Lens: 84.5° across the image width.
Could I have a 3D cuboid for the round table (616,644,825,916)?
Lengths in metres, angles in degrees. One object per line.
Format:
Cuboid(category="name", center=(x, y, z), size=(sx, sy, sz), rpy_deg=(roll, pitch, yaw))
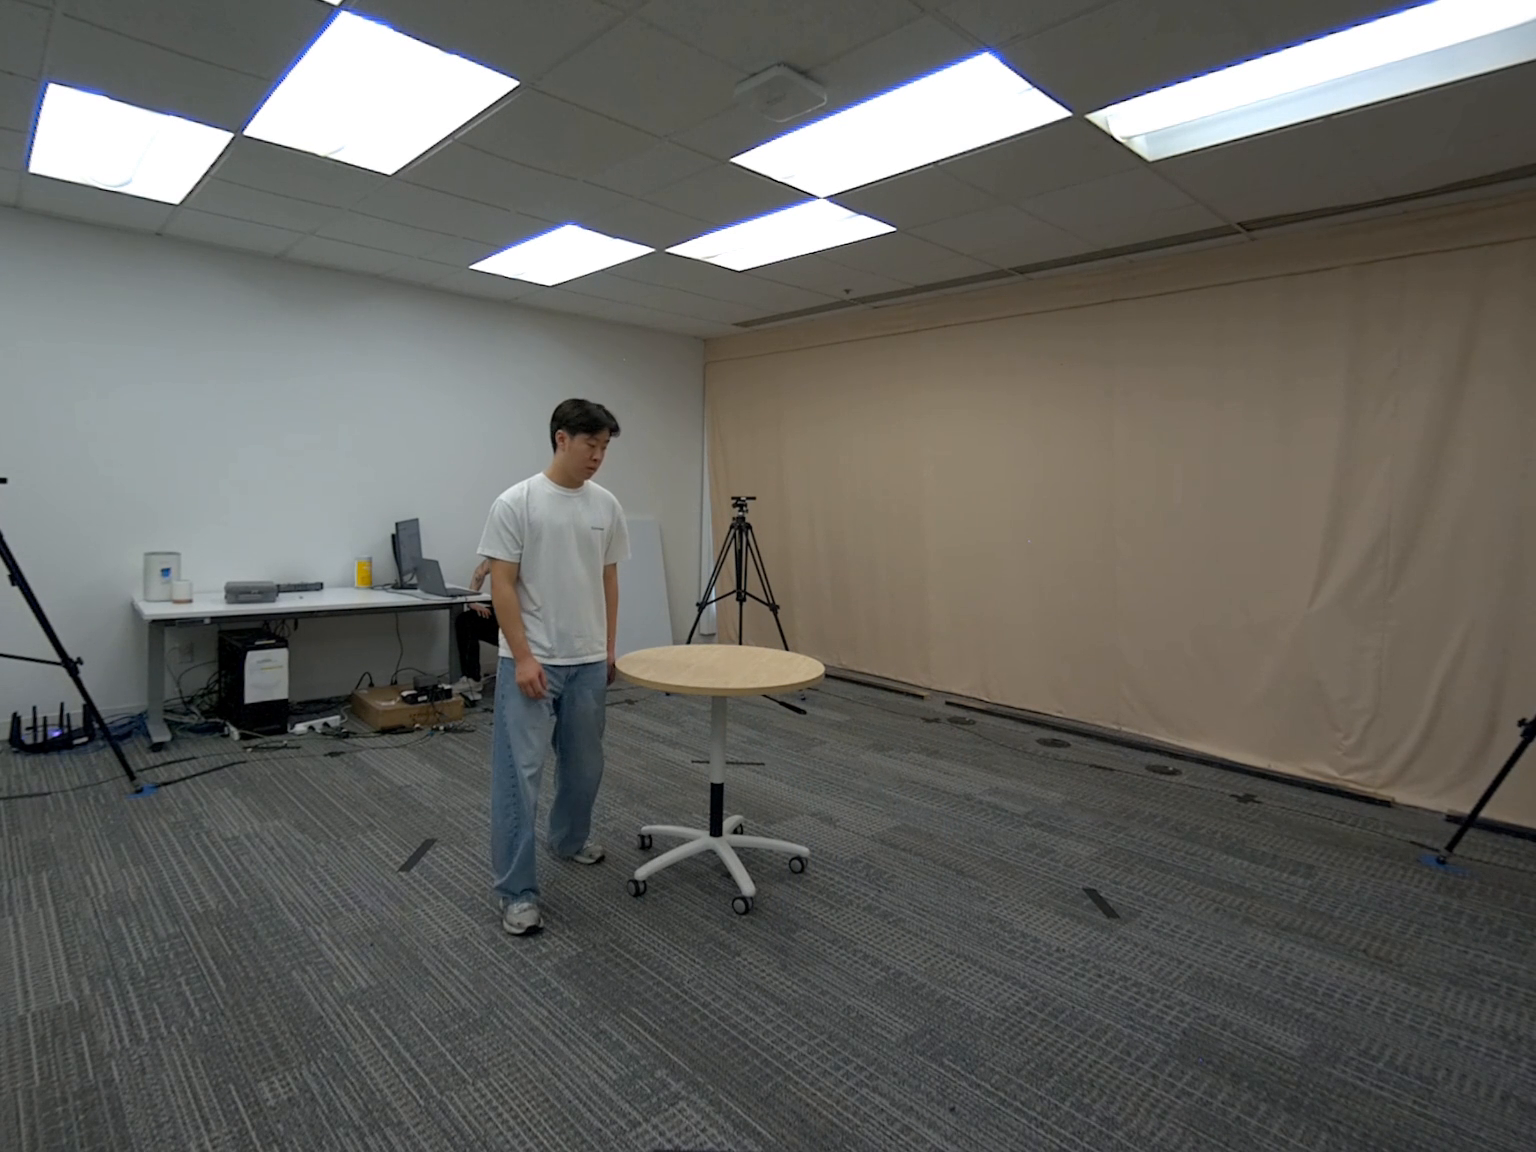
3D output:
Cuboid(category="round table", center=(-0.189, 0.715, 3.107), size=(0.763, 0.792, 0.767), rpy_deg=(1, 4, -1))
